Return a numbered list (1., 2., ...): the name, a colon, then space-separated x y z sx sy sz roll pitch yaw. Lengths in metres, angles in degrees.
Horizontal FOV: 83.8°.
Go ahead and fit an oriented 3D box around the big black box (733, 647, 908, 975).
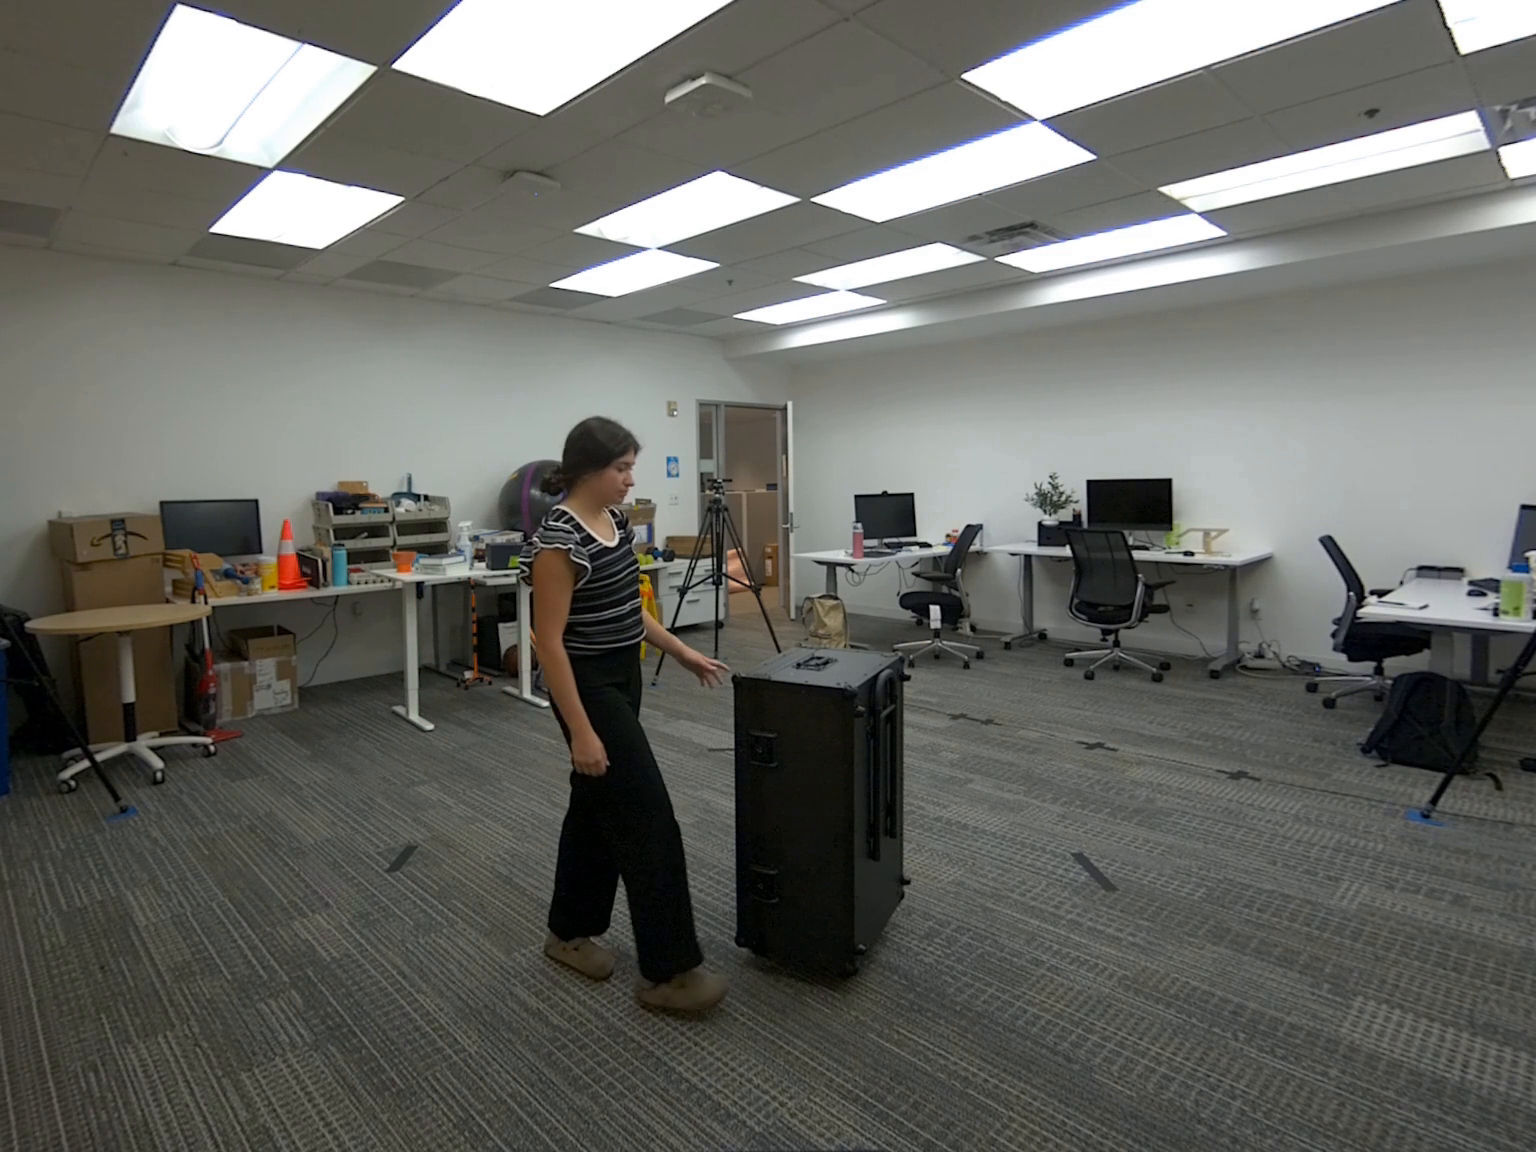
1. big black box: 0.180 0.682 2.542 0.406 0.858 0.510 3 5 27
